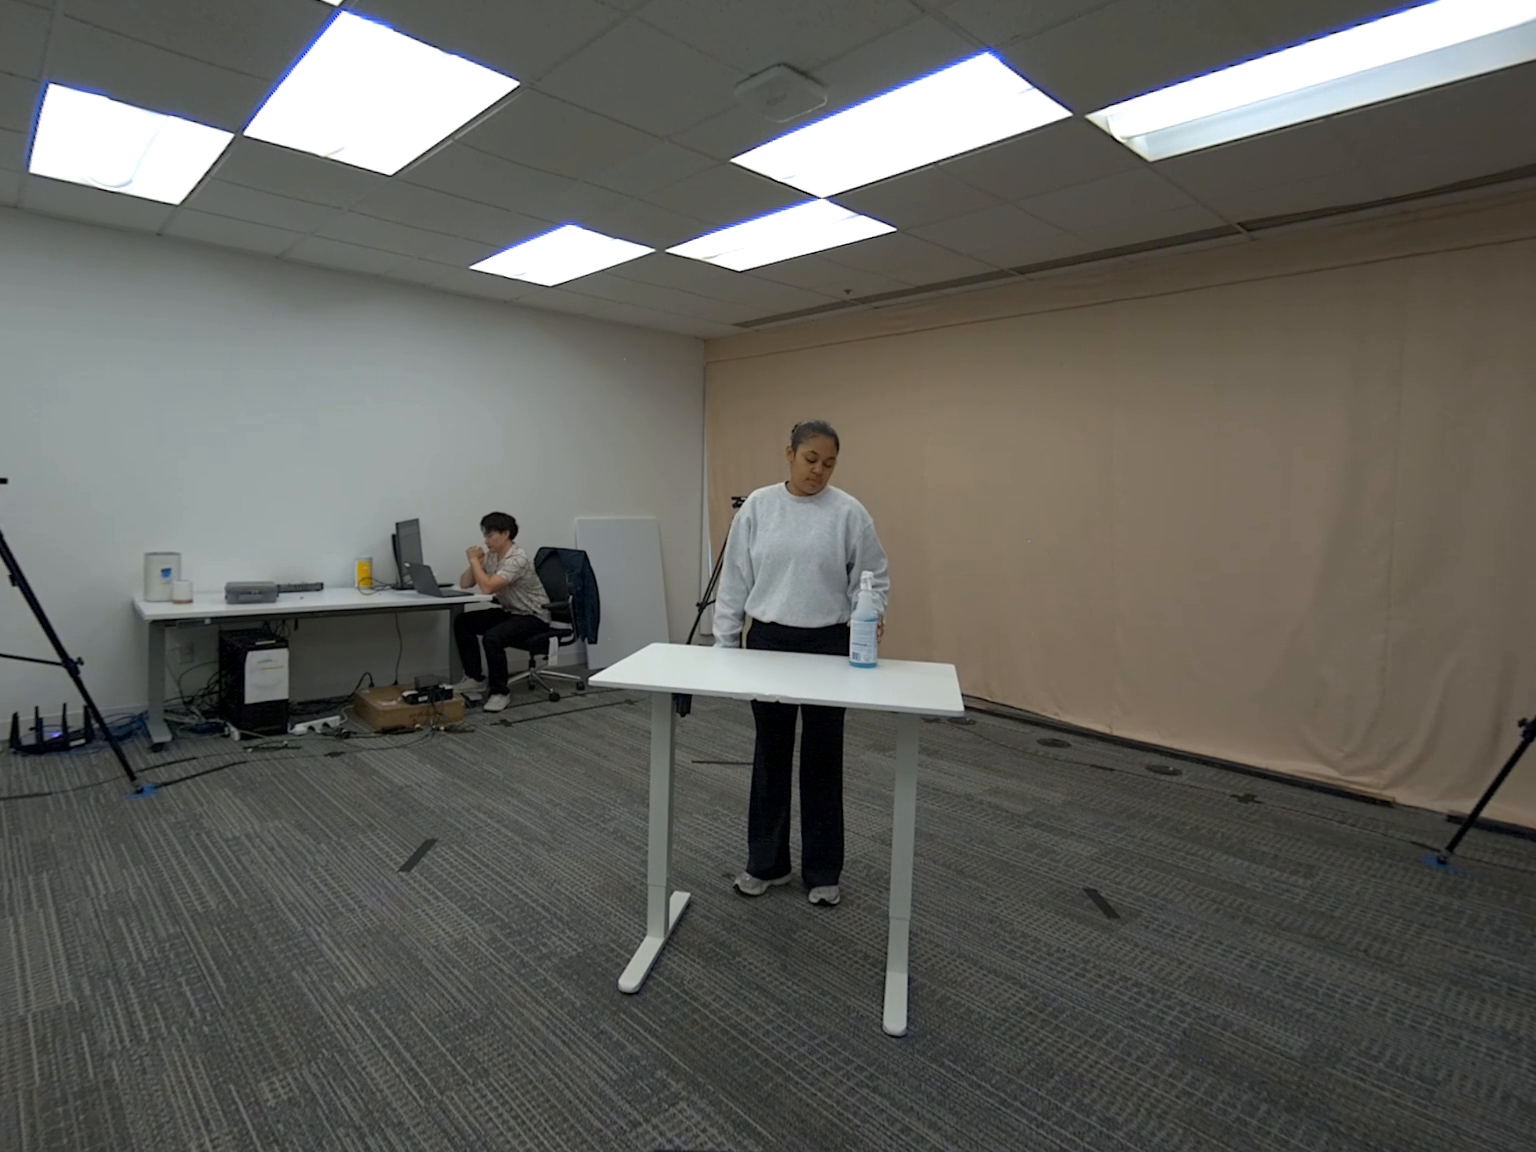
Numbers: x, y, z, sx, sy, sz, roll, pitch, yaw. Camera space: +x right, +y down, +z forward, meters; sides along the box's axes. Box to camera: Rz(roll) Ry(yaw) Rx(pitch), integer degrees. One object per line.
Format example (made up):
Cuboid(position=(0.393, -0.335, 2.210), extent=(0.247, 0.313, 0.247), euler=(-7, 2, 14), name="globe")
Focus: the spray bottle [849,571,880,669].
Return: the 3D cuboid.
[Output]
Cuboid(position=(0.284, 0.131, 2.608), extent=(0.088, 0.296, 0.089), euler=(3, 6, 19), name="spray bottle")
